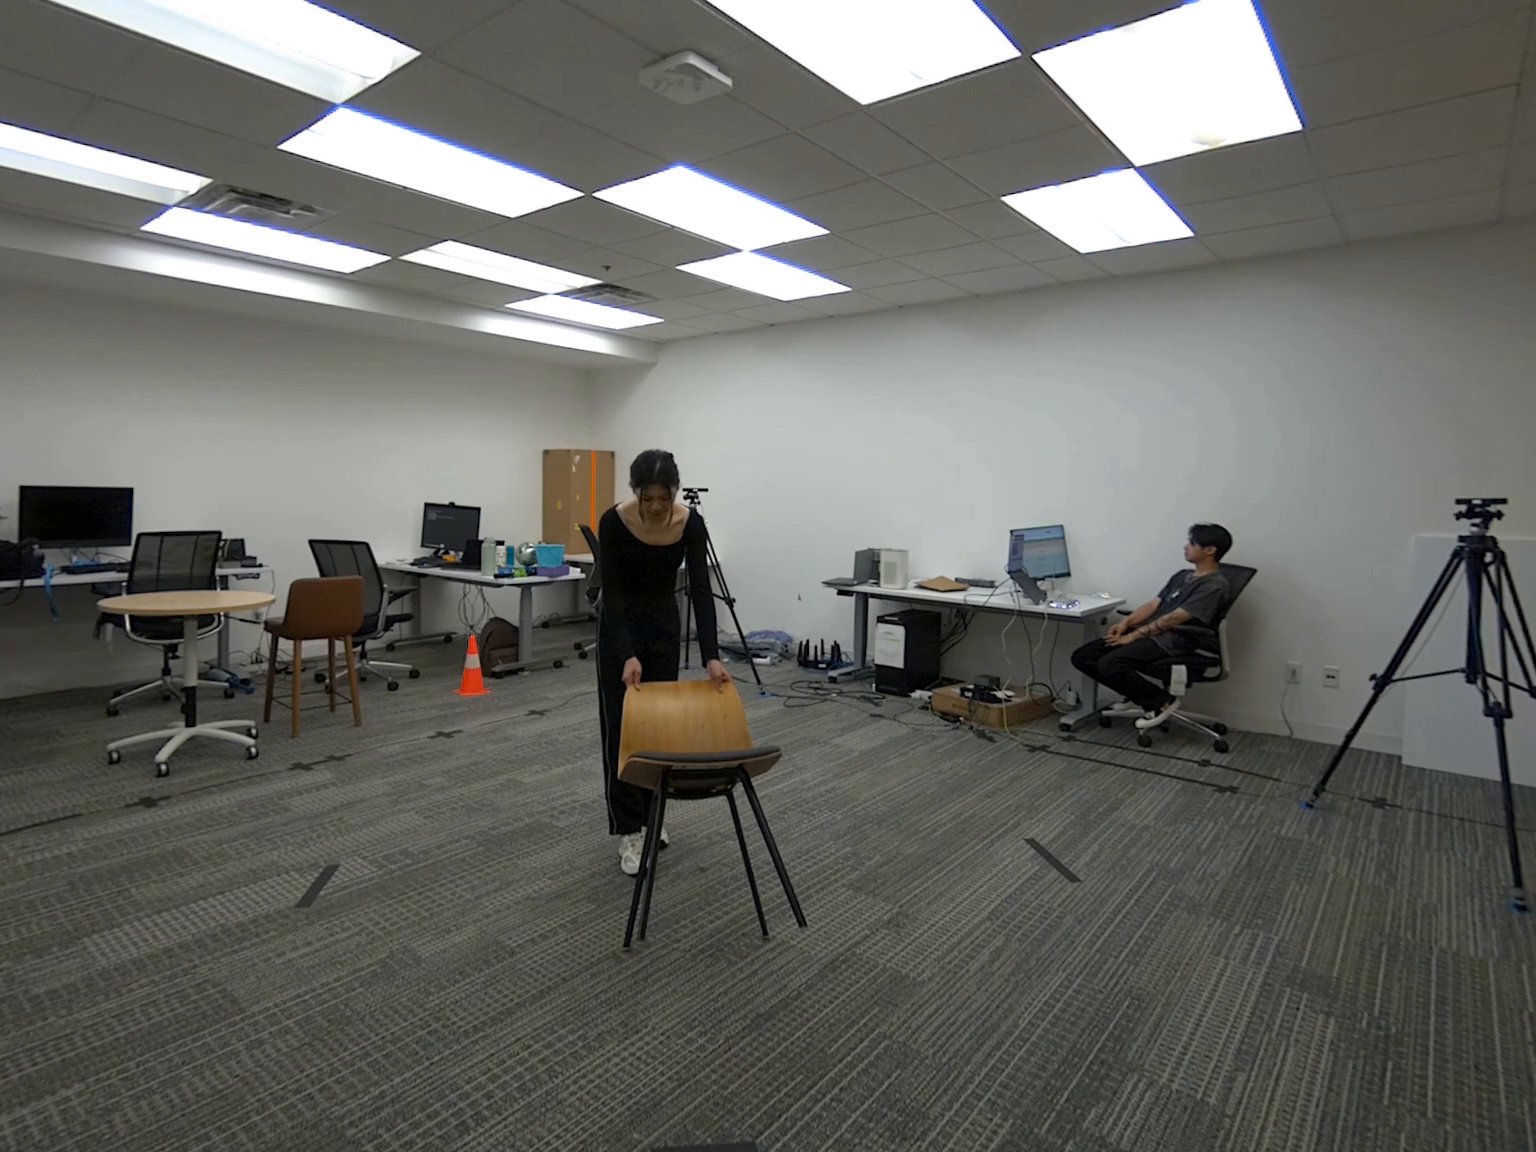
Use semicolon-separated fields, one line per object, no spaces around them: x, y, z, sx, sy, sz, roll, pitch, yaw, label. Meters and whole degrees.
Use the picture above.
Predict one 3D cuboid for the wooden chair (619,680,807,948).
-0.212;0.628;2.596;0.472;0.903;0.515;0;-31;-13;wooden chair
